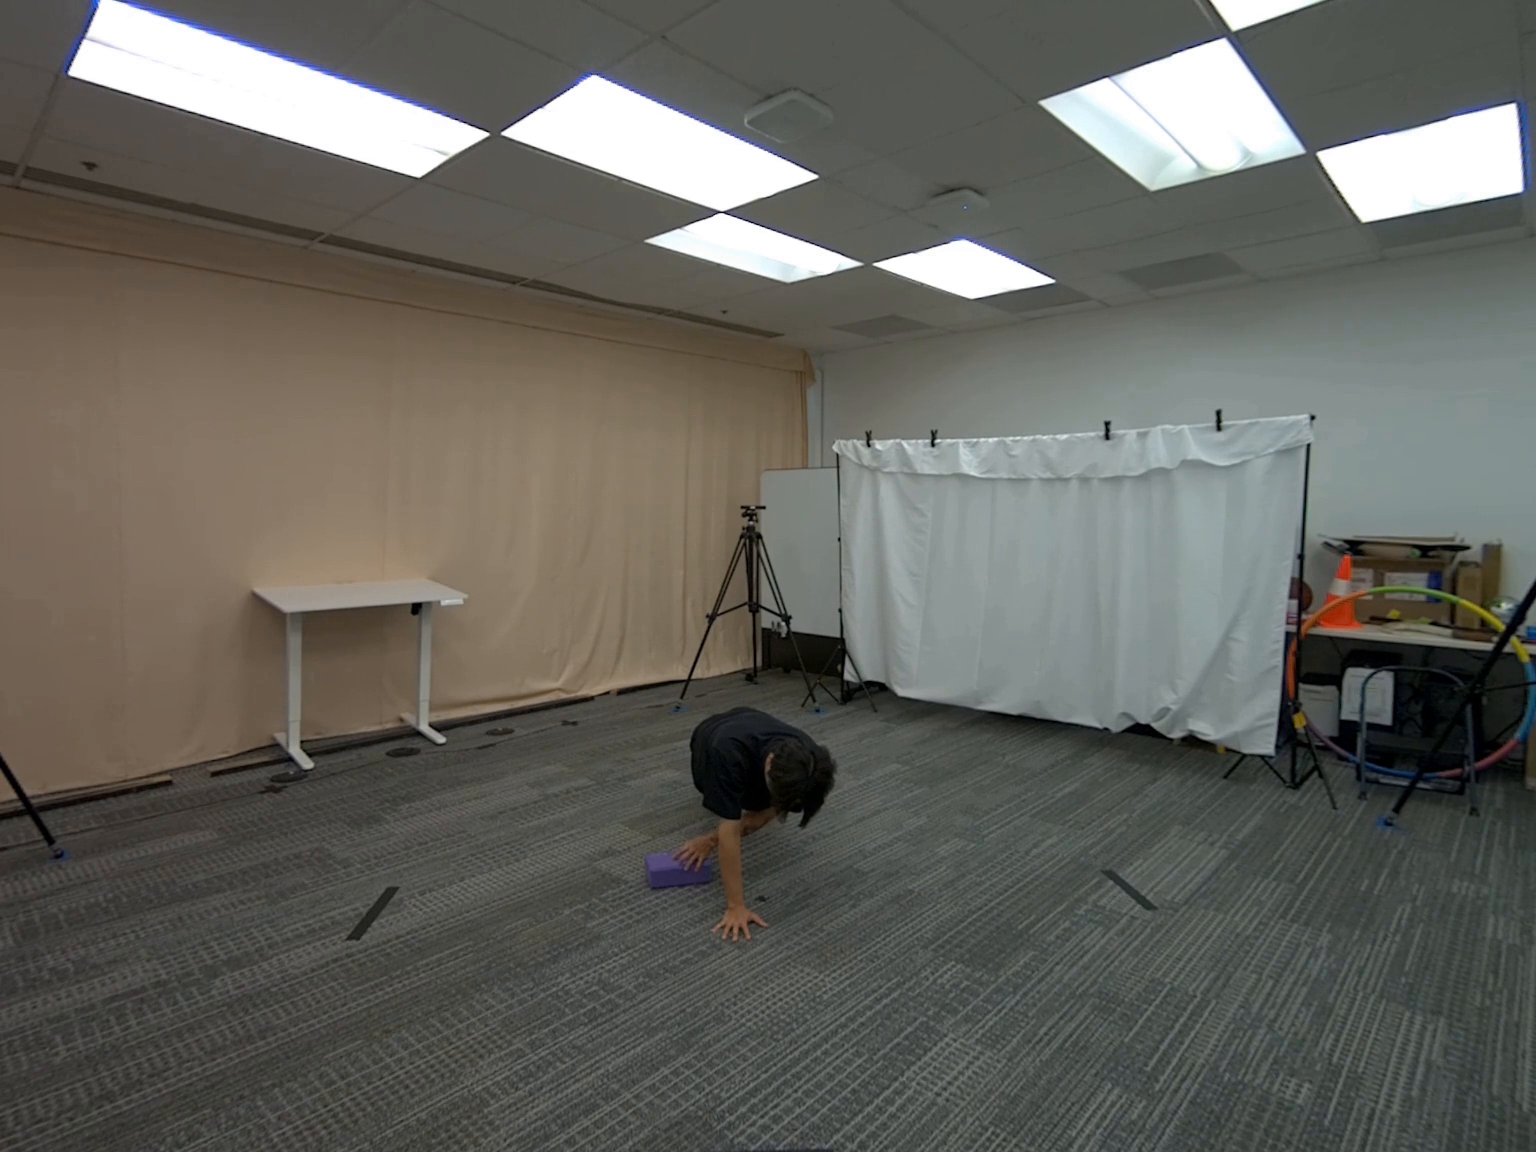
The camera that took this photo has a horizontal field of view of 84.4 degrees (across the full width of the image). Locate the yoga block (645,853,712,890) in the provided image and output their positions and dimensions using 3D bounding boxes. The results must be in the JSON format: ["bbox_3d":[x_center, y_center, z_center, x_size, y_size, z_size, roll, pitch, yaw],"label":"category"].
[{"bbox_3d":[-0.337,1.094,3.150,0.226,0.076,0.151,0,5,-14],"label":"yoga block"}]
